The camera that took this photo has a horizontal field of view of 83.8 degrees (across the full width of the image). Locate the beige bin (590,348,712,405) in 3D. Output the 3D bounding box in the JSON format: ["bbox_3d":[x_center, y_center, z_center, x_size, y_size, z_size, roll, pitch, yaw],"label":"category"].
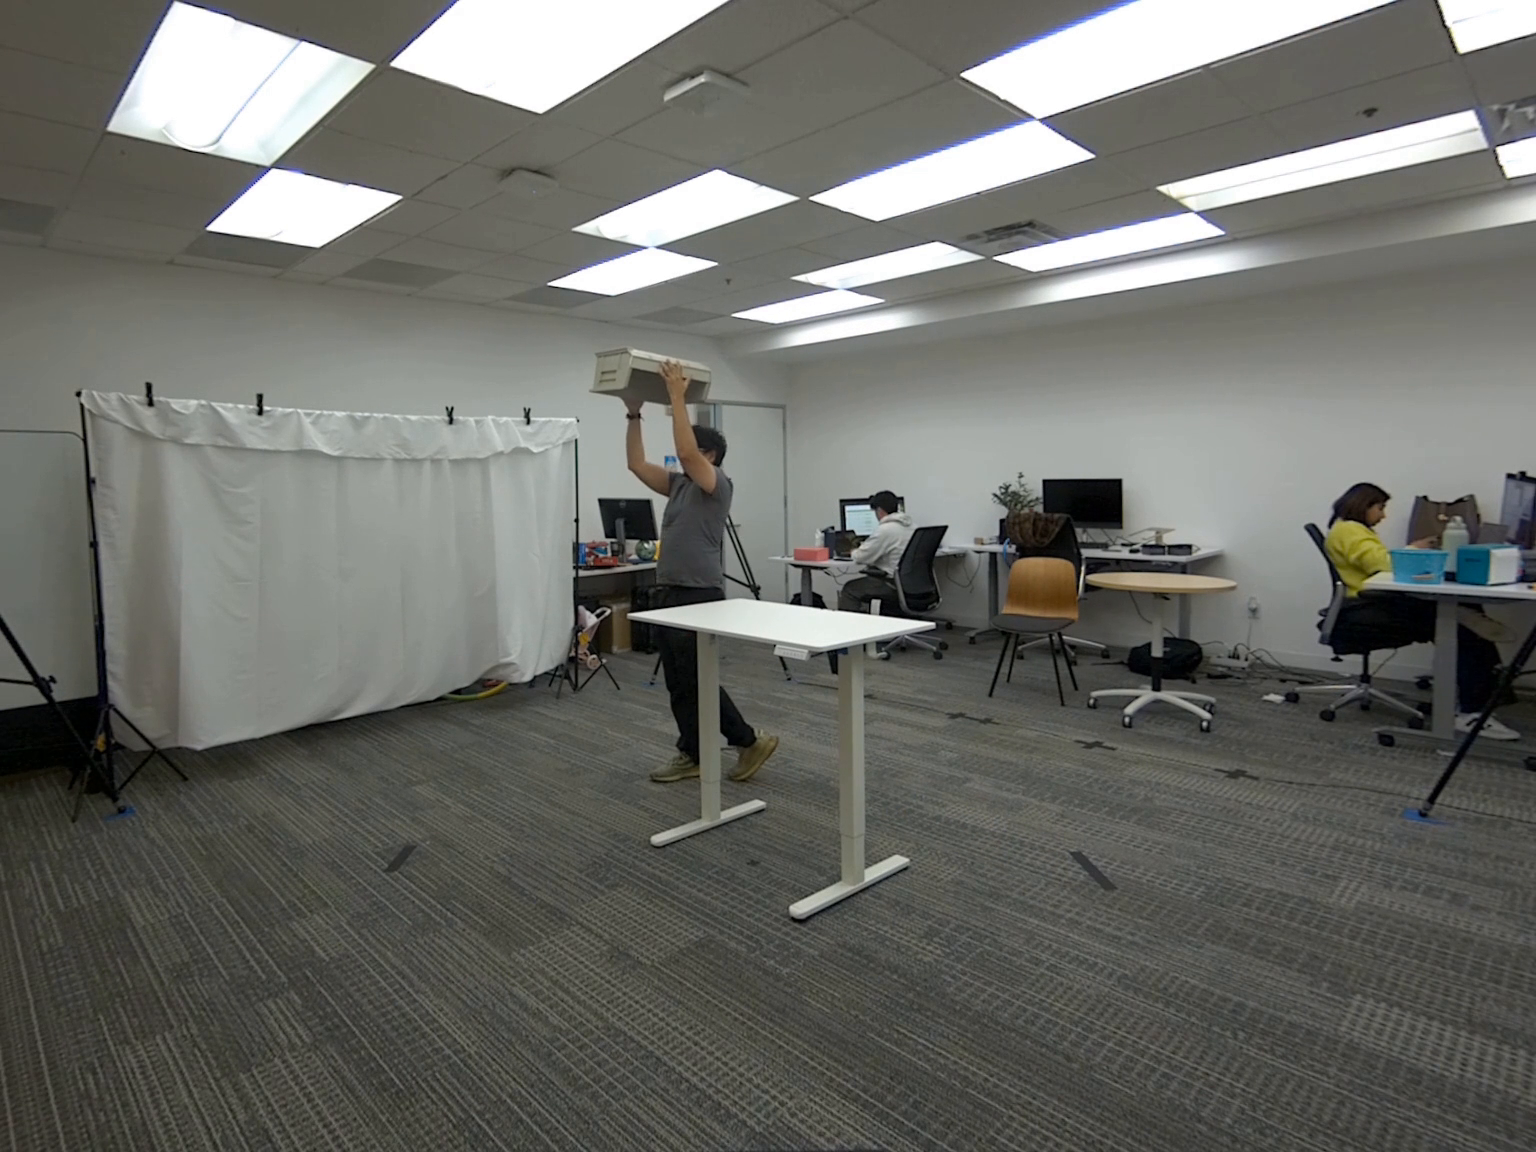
[{"bbox_3d":[-0.527,-0.895,3.855,0.410,0.188,0.390,2,7,-36],"label":"beige bin"}]
